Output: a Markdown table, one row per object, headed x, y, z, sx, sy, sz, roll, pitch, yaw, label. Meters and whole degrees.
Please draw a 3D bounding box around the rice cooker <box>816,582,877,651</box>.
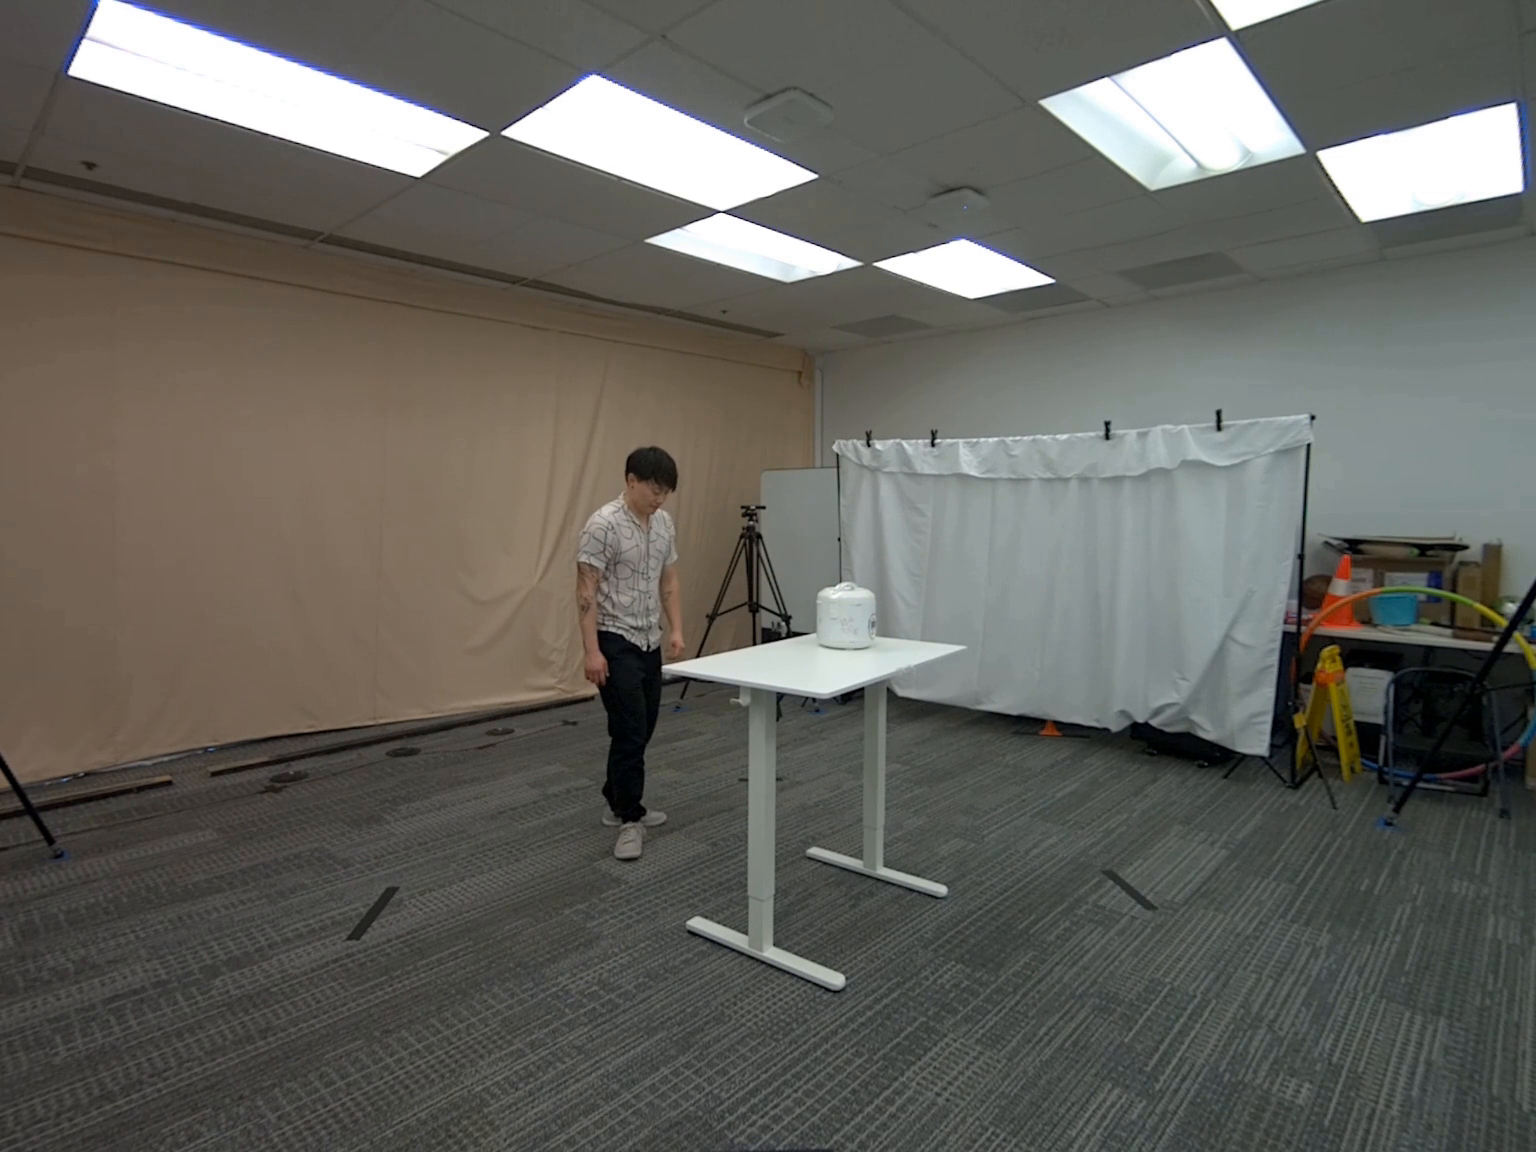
| x | y | z | sx | sy | sz | roll | pitch | yaw | label |
| --- | --- | --- | --- | --- | --- | --- | --- | --- | --- |
| 0.290 | 0.138 | 3.049 | 0.224 | 0.232 | 0.214 | 1 | 3 | 33 | rice cooker |
